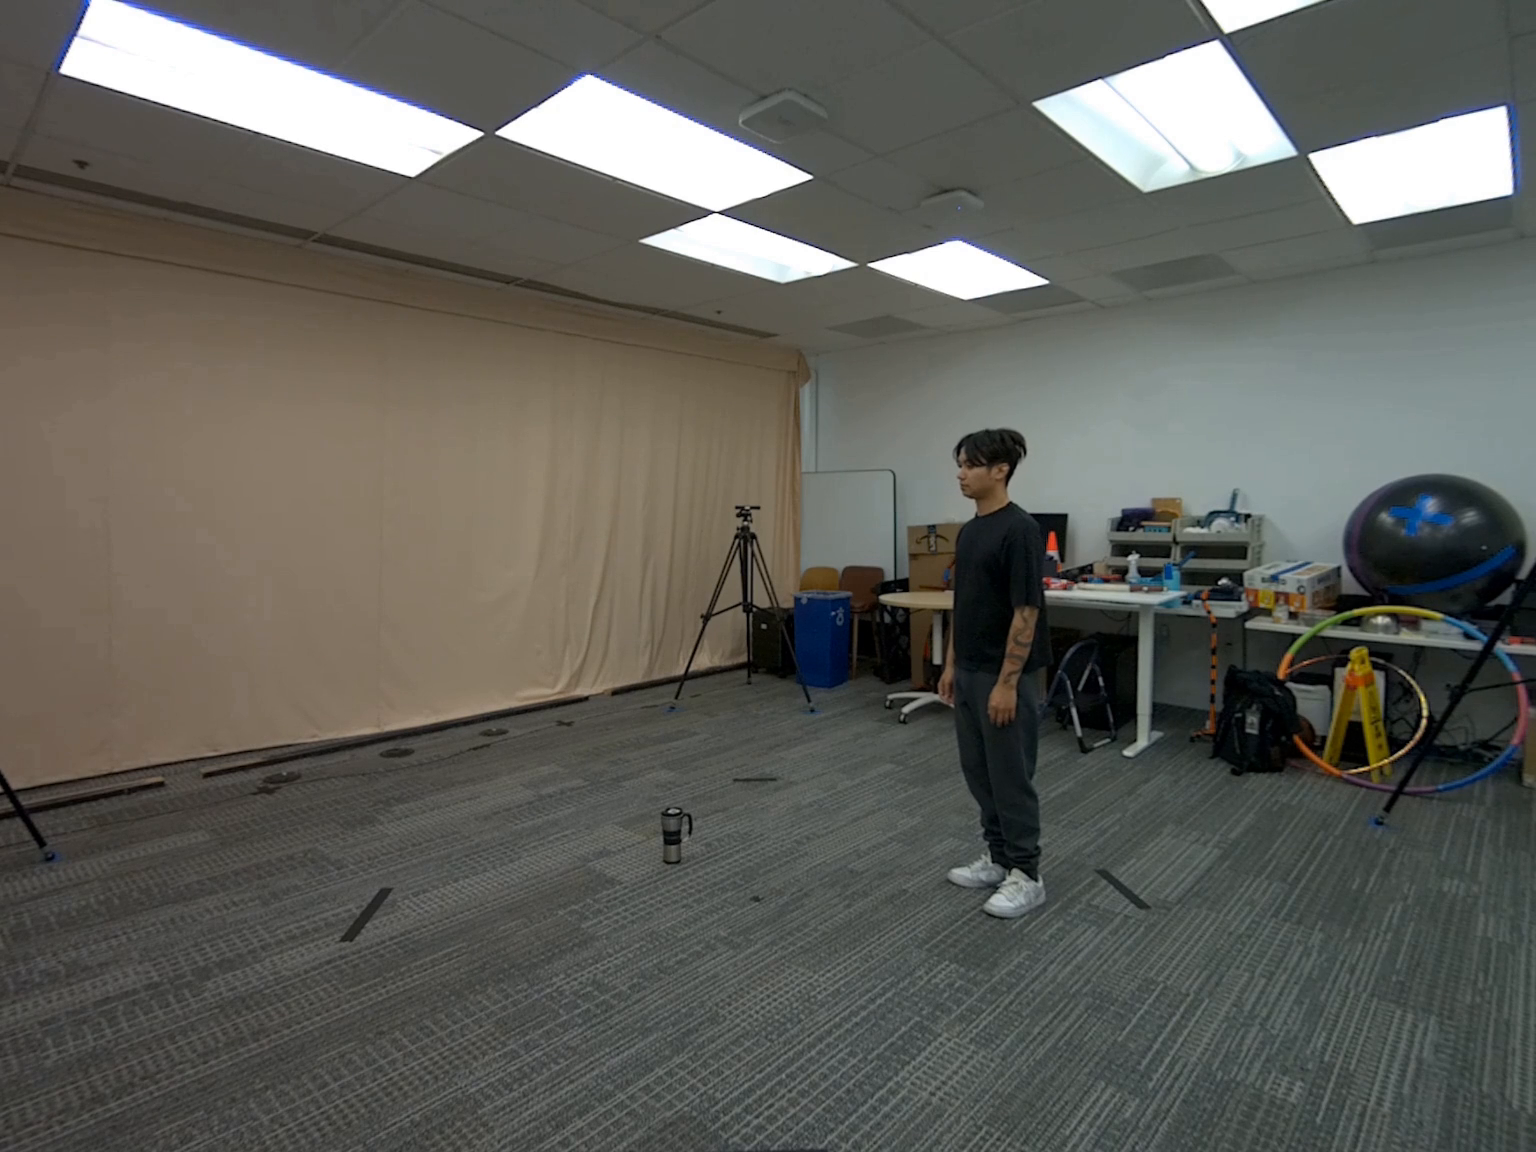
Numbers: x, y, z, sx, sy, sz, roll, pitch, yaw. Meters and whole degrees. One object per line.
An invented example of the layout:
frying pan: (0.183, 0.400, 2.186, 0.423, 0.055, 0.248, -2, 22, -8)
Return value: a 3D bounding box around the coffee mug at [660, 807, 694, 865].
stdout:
coffee mug: (-0.365, 1.020, 3.286, 0.085, 0.203, 0.126, 1, -4, -43)
